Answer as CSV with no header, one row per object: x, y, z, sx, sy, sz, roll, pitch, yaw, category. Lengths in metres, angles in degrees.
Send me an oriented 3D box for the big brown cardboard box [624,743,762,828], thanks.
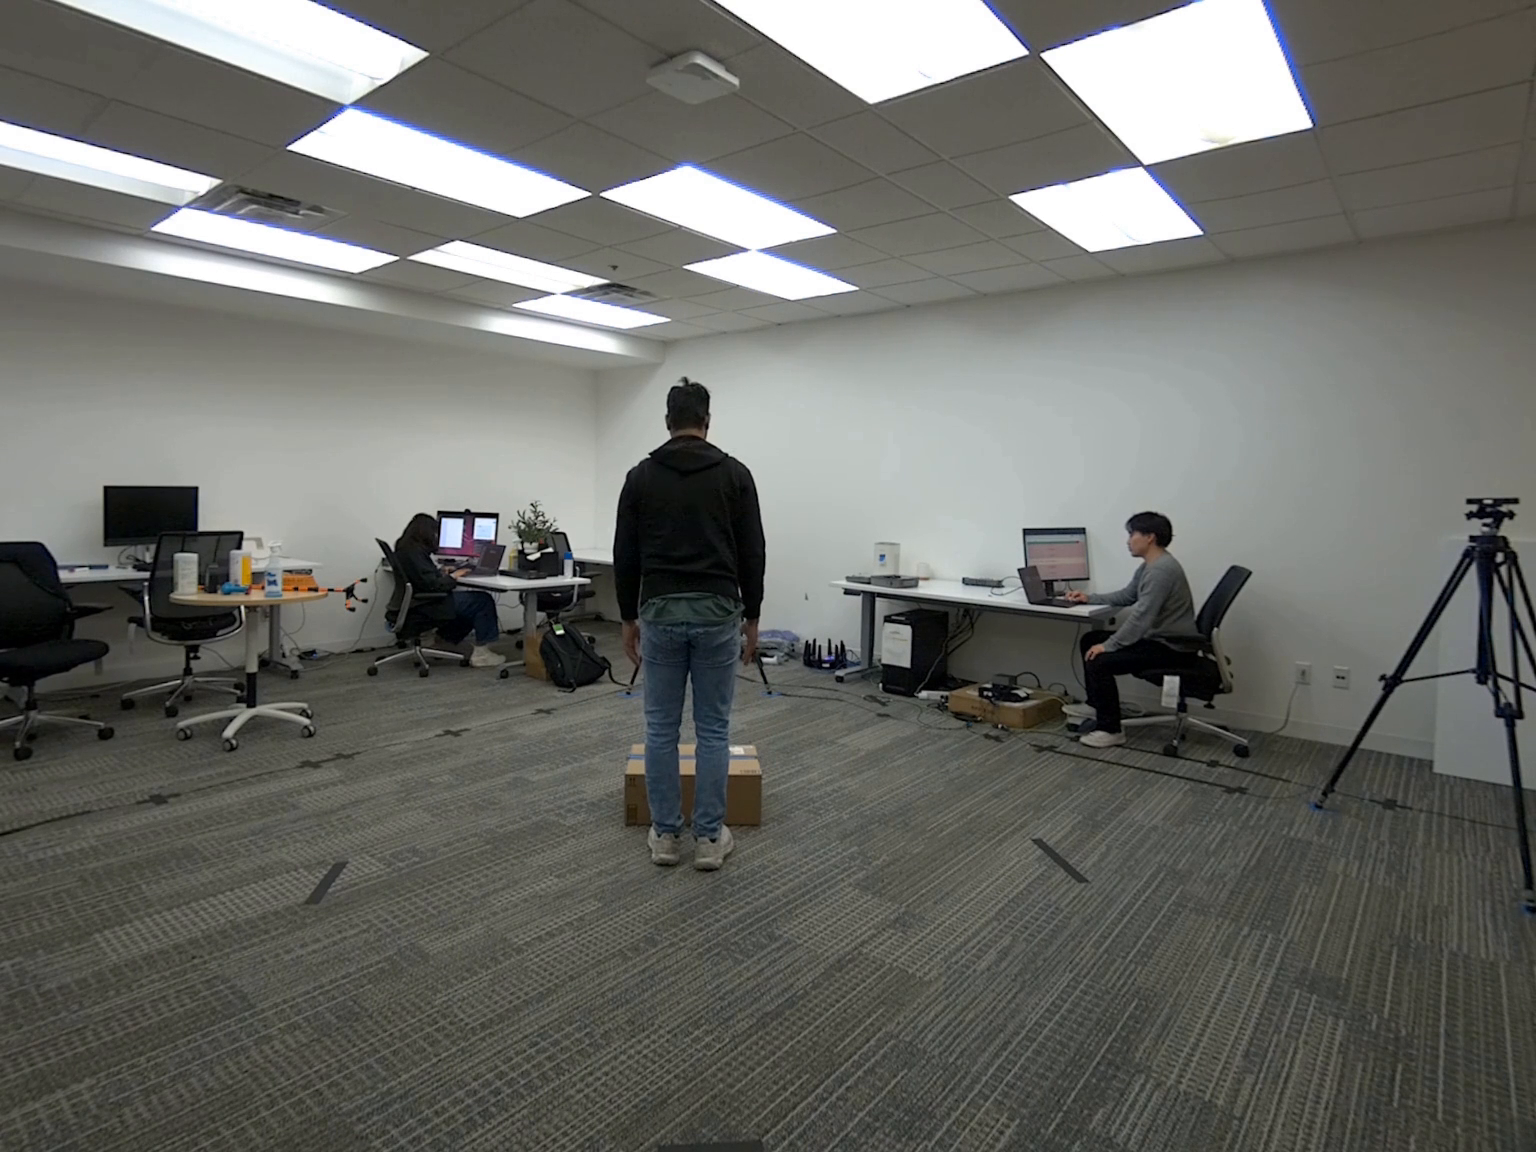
-0.331,0.893,3.701,0.587,0.232,0.421,0,5,-4,big brown cardboard box
